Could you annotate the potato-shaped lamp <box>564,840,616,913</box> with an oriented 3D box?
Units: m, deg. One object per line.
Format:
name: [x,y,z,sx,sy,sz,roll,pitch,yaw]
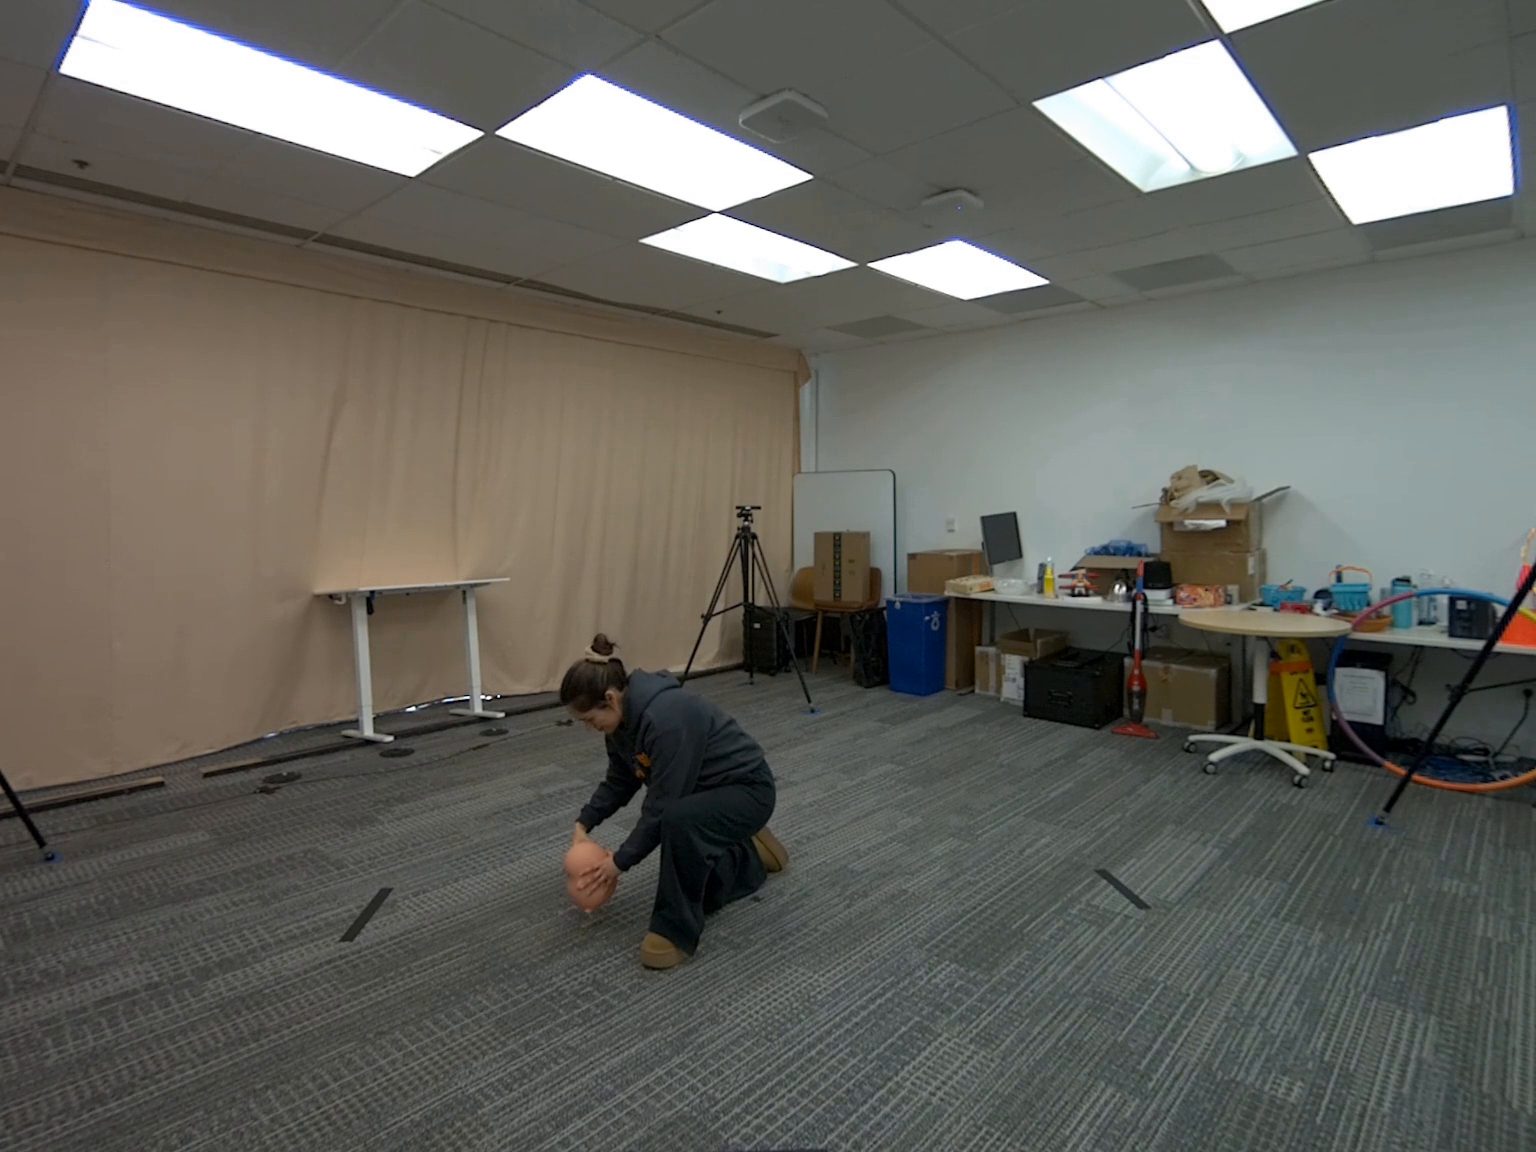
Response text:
potato-shaped lamp: [-0.572,0.988,2.767,0.169,0.197,0.168,-29,7,-27]
